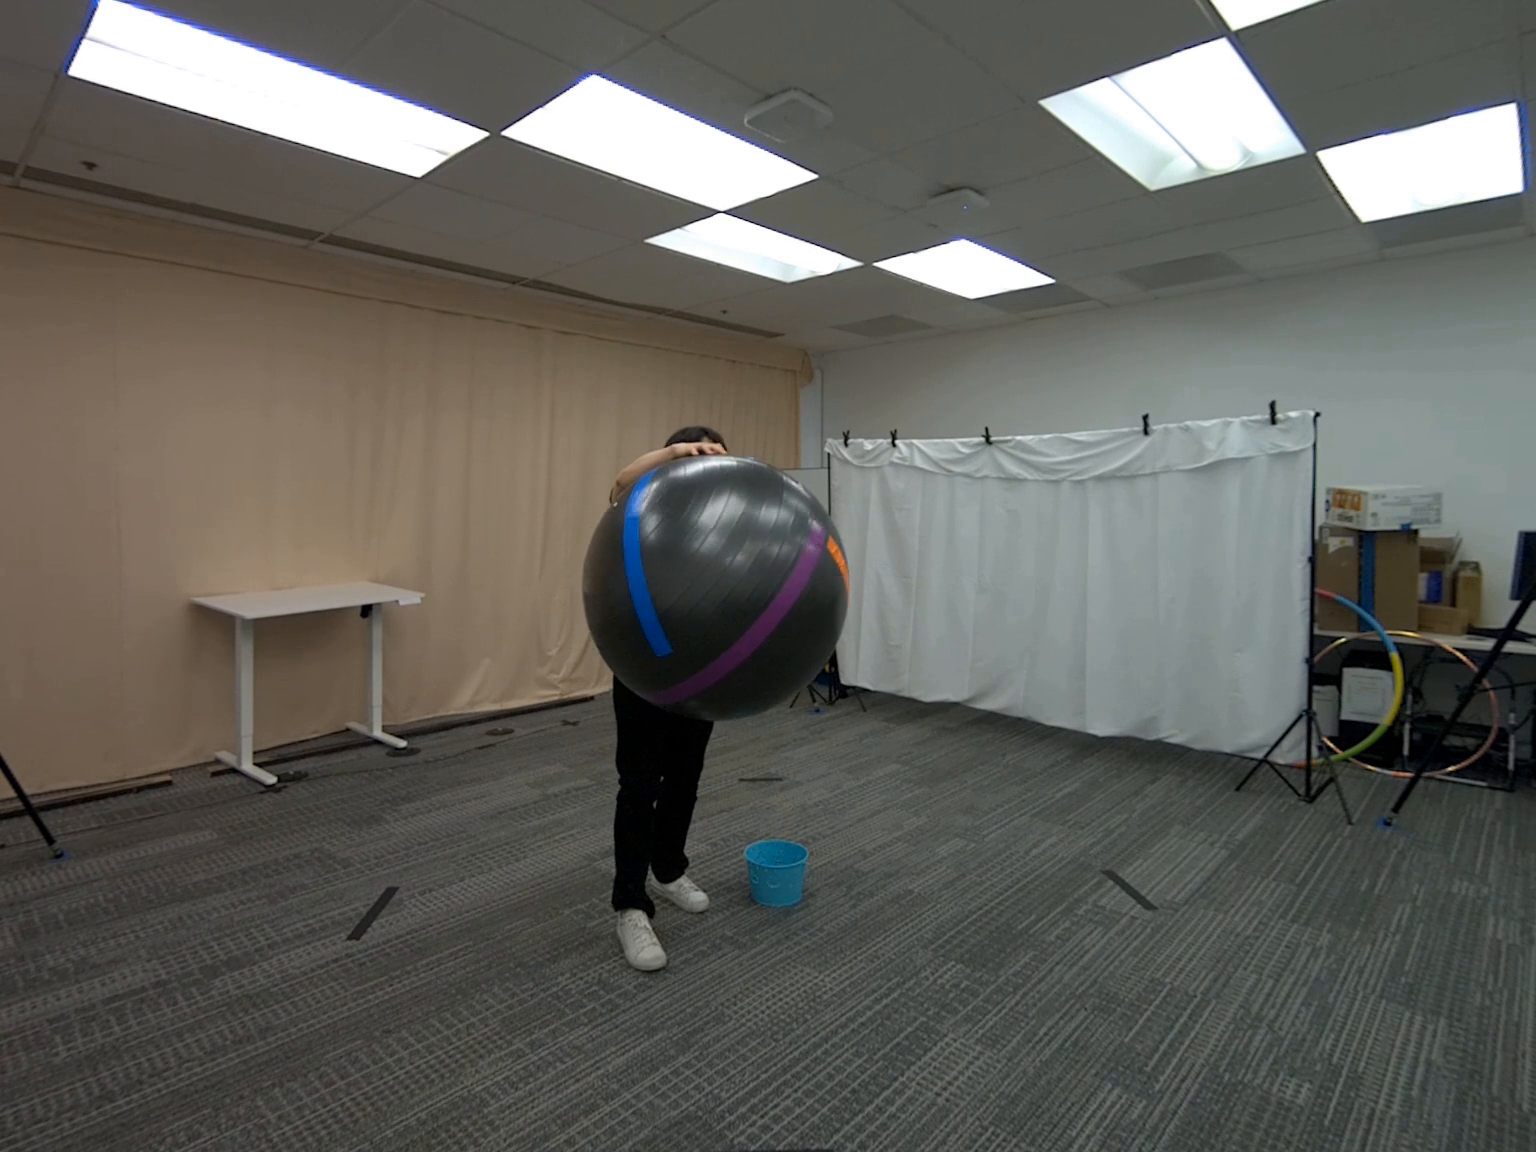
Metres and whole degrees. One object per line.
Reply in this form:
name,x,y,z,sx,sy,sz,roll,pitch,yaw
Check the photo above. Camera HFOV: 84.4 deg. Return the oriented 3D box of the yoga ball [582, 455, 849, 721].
yoga ball,-0.146,0.033,2.396,0.757,0.756,0.761,0,4,-2
